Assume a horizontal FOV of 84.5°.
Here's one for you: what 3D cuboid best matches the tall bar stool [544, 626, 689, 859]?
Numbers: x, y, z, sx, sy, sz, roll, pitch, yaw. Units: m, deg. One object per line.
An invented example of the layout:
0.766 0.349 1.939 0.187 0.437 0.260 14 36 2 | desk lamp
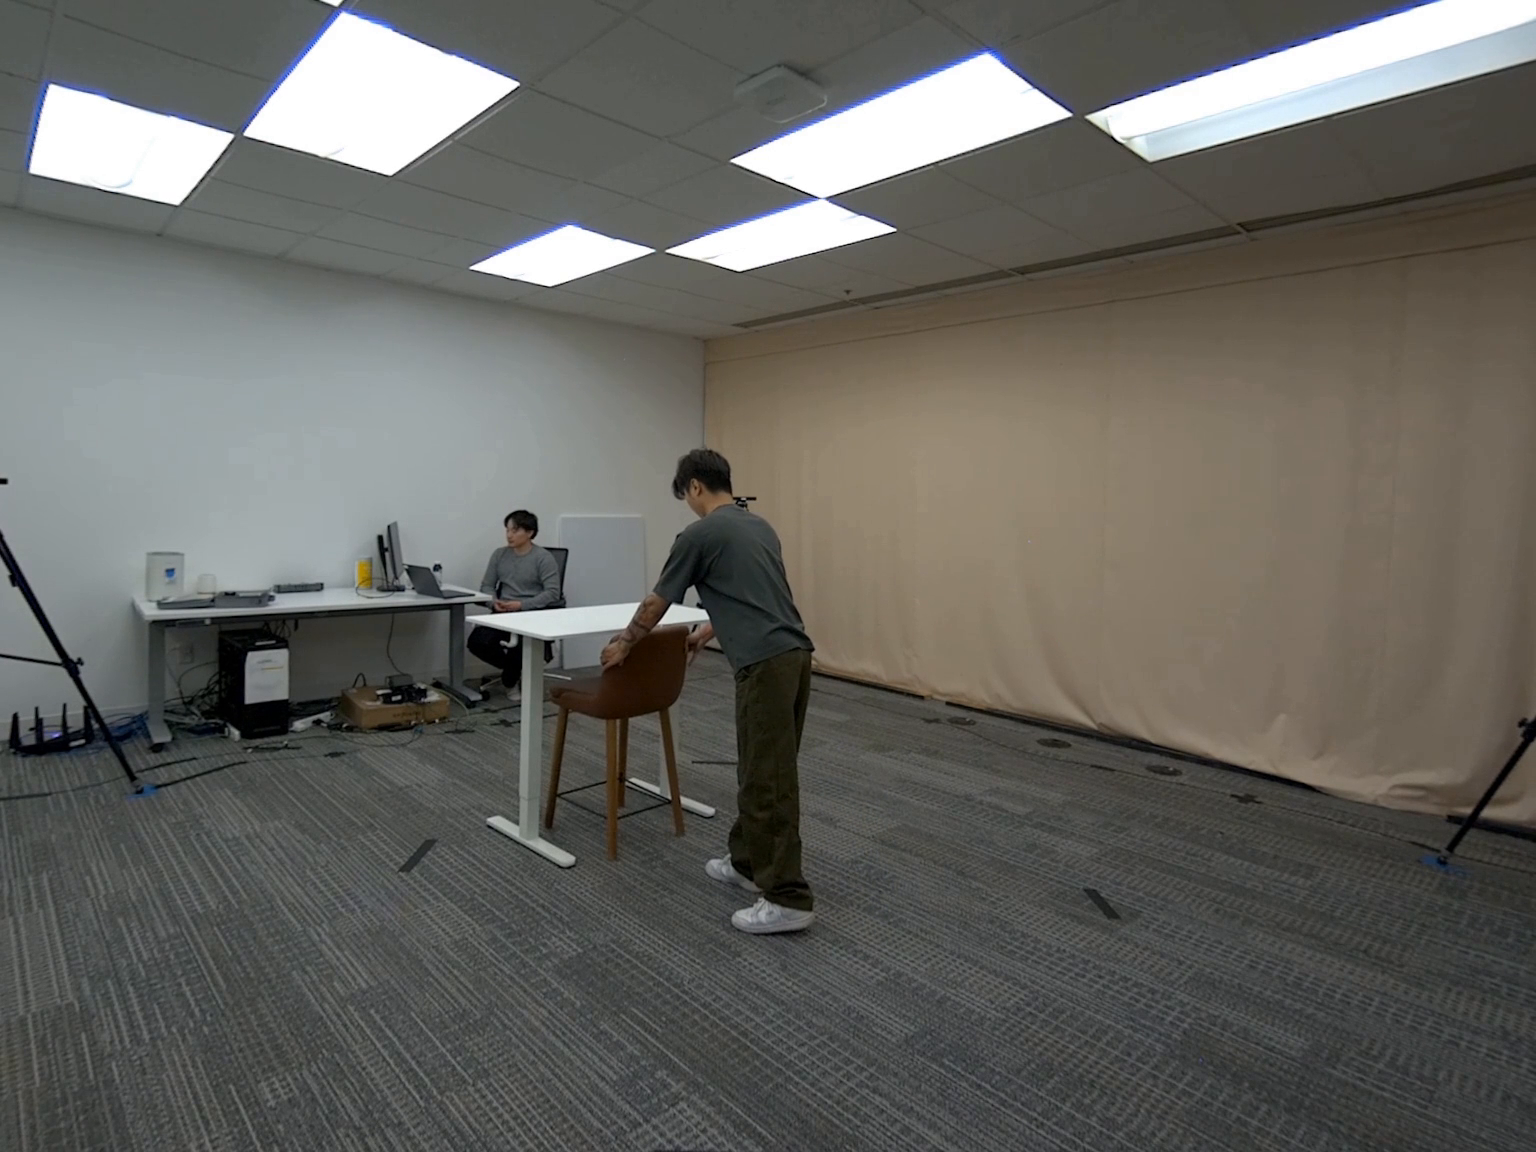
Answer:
-0.619 0.629 3.469 0.480 0.886 0.446 8 7 43 | tall bar stool
